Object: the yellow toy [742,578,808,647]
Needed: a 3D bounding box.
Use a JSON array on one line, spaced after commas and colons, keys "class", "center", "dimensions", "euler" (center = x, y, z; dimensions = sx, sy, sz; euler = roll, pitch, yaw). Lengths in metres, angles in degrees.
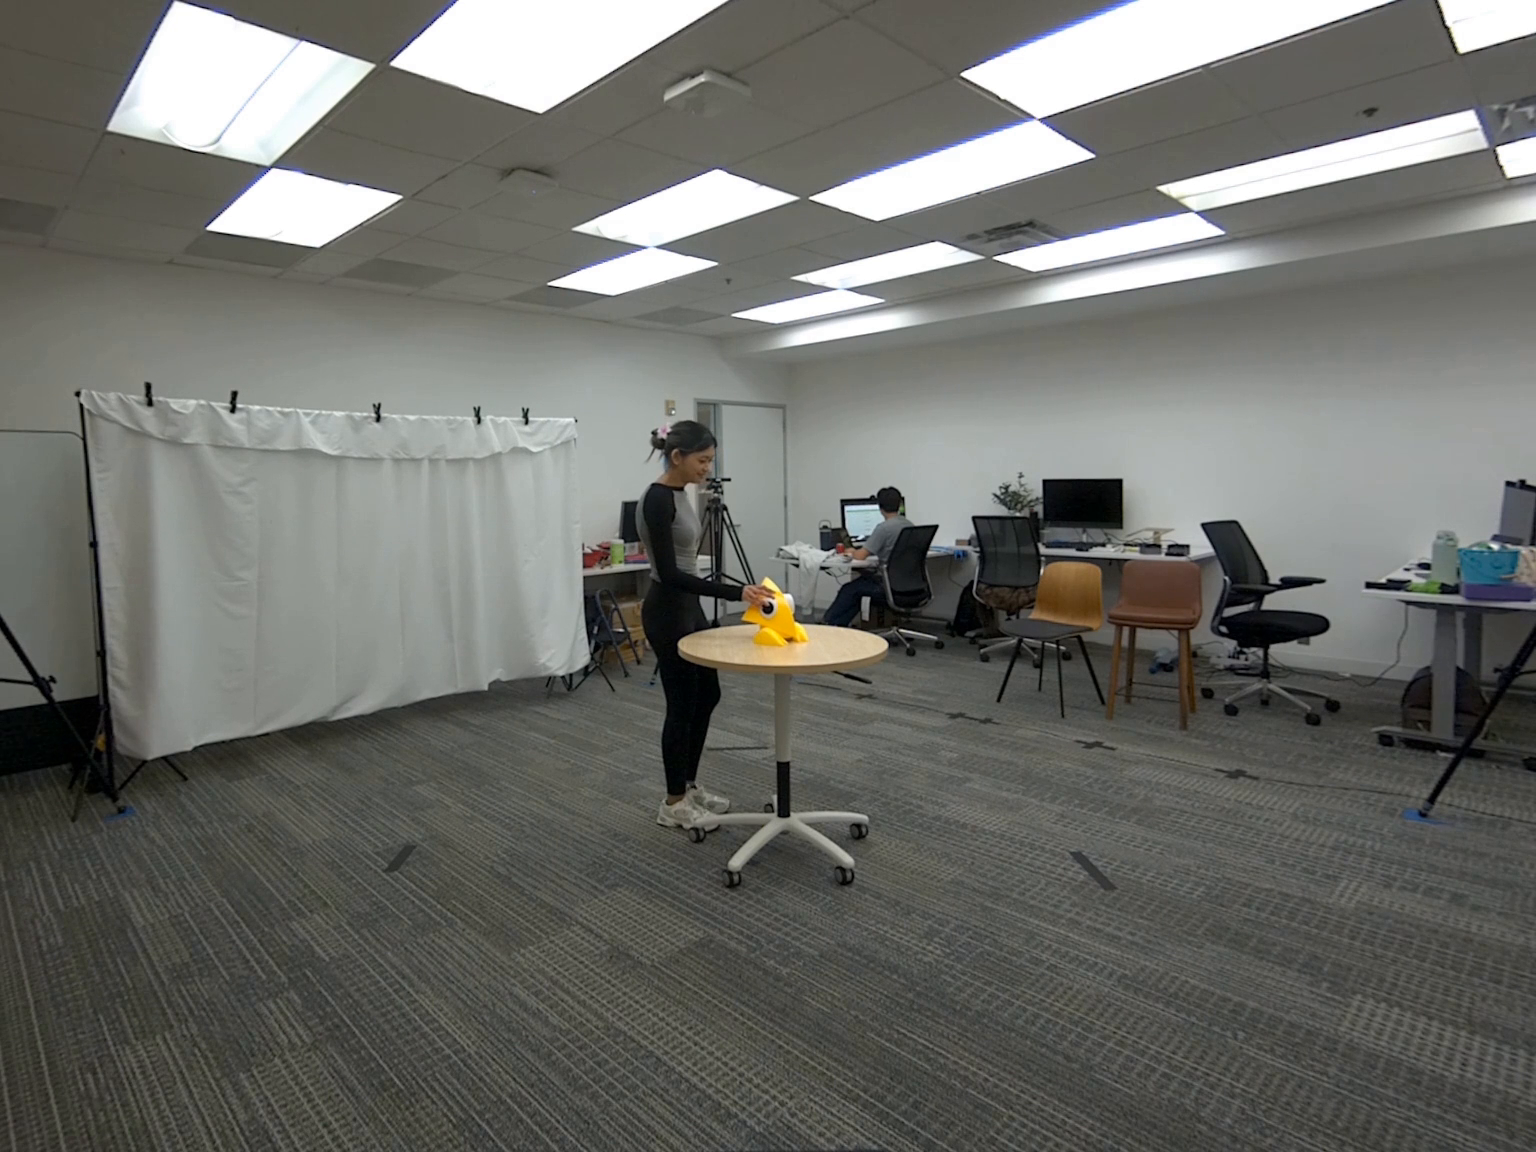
[{"class": "yellow toy", "center": [0.041, 0.126, 3.173], "dimensions": [0.199, 0.230, 0.199], "euler": [-5, 7, -42]}]
